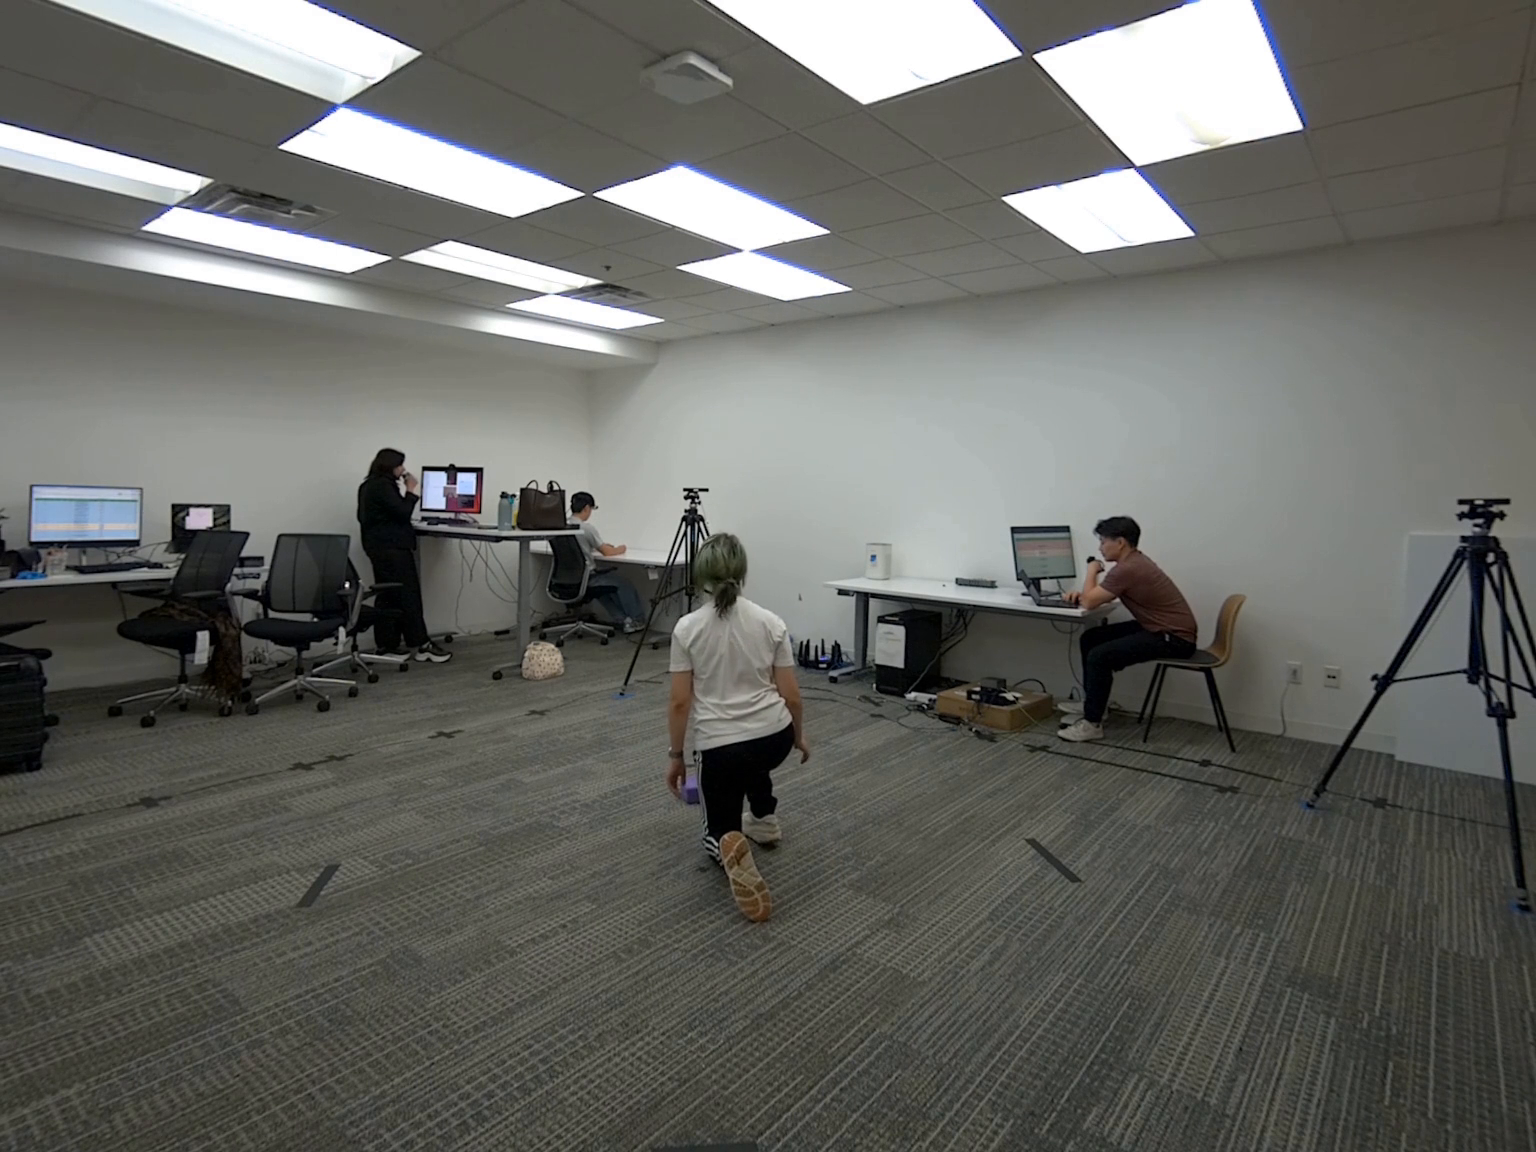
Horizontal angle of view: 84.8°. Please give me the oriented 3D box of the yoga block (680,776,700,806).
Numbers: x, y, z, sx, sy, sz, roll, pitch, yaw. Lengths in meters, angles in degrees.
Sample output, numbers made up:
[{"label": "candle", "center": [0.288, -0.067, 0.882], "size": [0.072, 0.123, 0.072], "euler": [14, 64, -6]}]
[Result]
[{"label": "yoga block", "center": [-0.277, 0.955, 3.838], "size": [0.226, 0.076, 0.152], "euler": [-1, 5, -14]}]
